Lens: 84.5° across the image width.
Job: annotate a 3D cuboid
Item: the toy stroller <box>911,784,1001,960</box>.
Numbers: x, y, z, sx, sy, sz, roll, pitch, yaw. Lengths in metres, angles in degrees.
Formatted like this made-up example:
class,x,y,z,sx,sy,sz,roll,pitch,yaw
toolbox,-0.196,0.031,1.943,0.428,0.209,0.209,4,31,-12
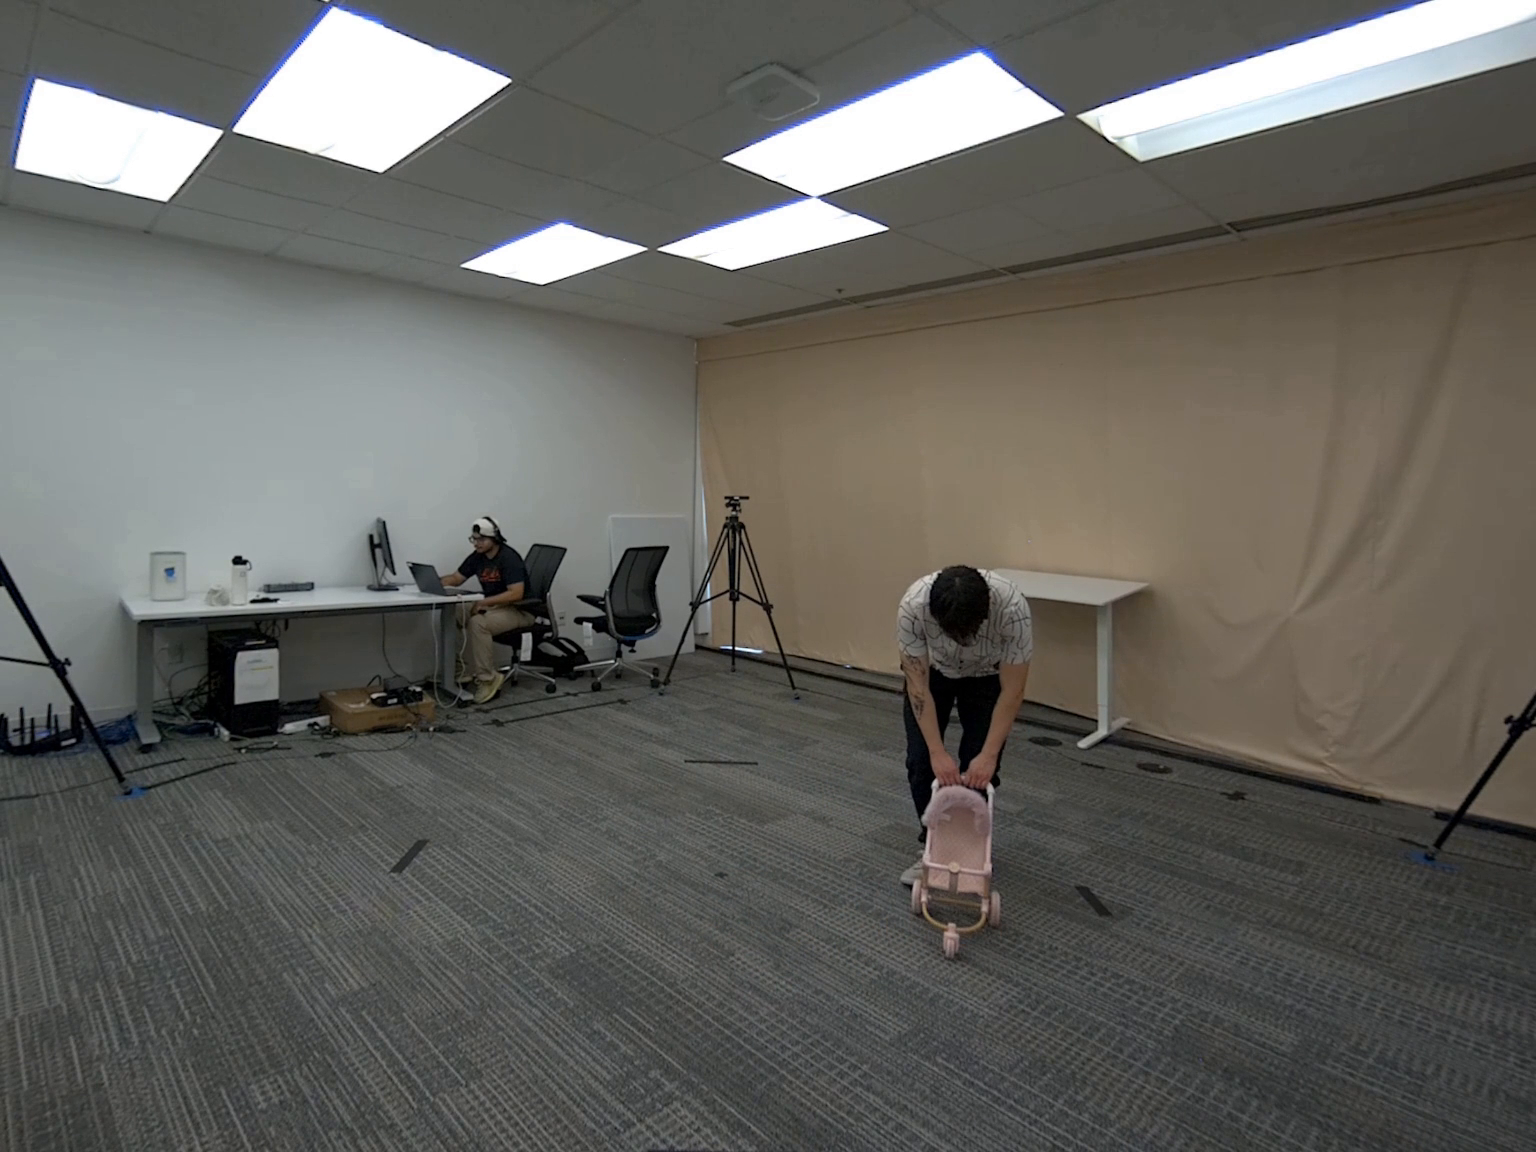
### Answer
class,x,y,z,sx,sy,sz,roll,pitch,yaw
toy stroller,0.607,0.932,2.743,0.286,0.539,0.333,2,-11,21
